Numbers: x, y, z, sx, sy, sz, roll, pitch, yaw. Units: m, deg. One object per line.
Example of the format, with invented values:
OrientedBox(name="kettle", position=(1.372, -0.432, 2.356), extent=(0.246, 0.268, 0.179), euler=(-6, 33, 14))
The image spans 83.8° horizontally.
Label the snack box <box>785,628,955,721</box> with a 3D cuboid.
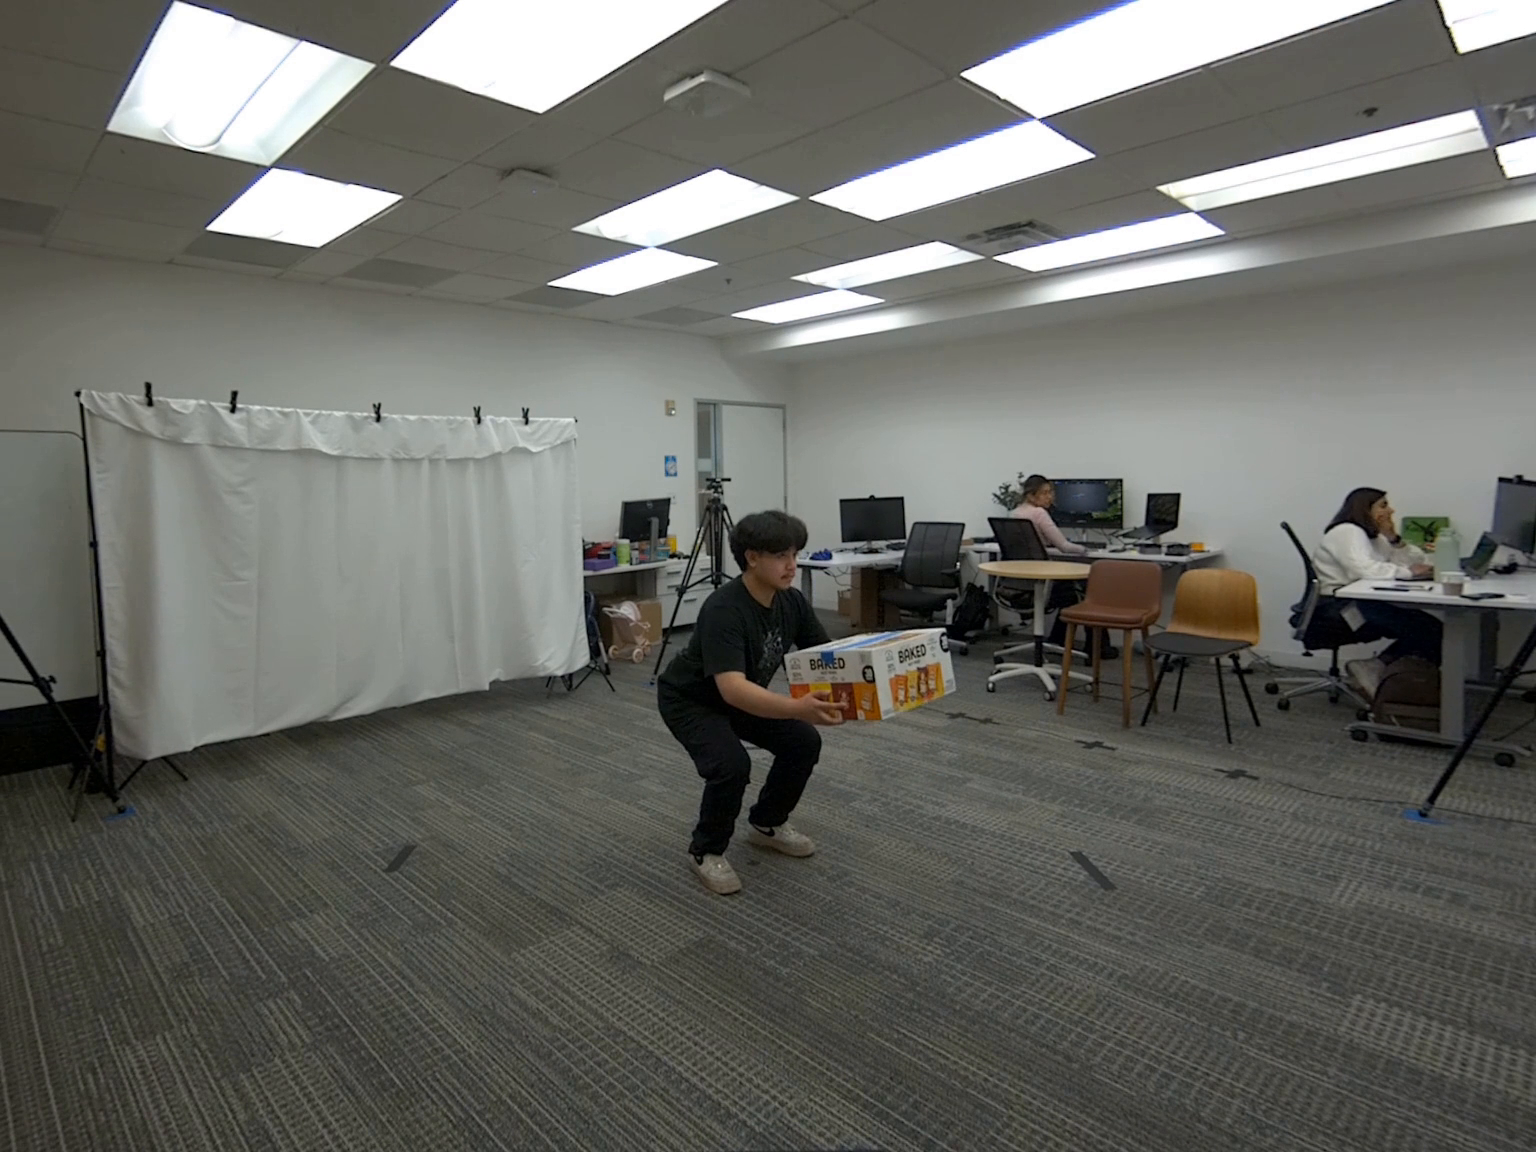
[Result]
OrientedBox(name="snack box", position=(0.321, 0.306, 2.680), extent=(0.348, 0.206, 0.395), euler=(-8, 0, 44))
